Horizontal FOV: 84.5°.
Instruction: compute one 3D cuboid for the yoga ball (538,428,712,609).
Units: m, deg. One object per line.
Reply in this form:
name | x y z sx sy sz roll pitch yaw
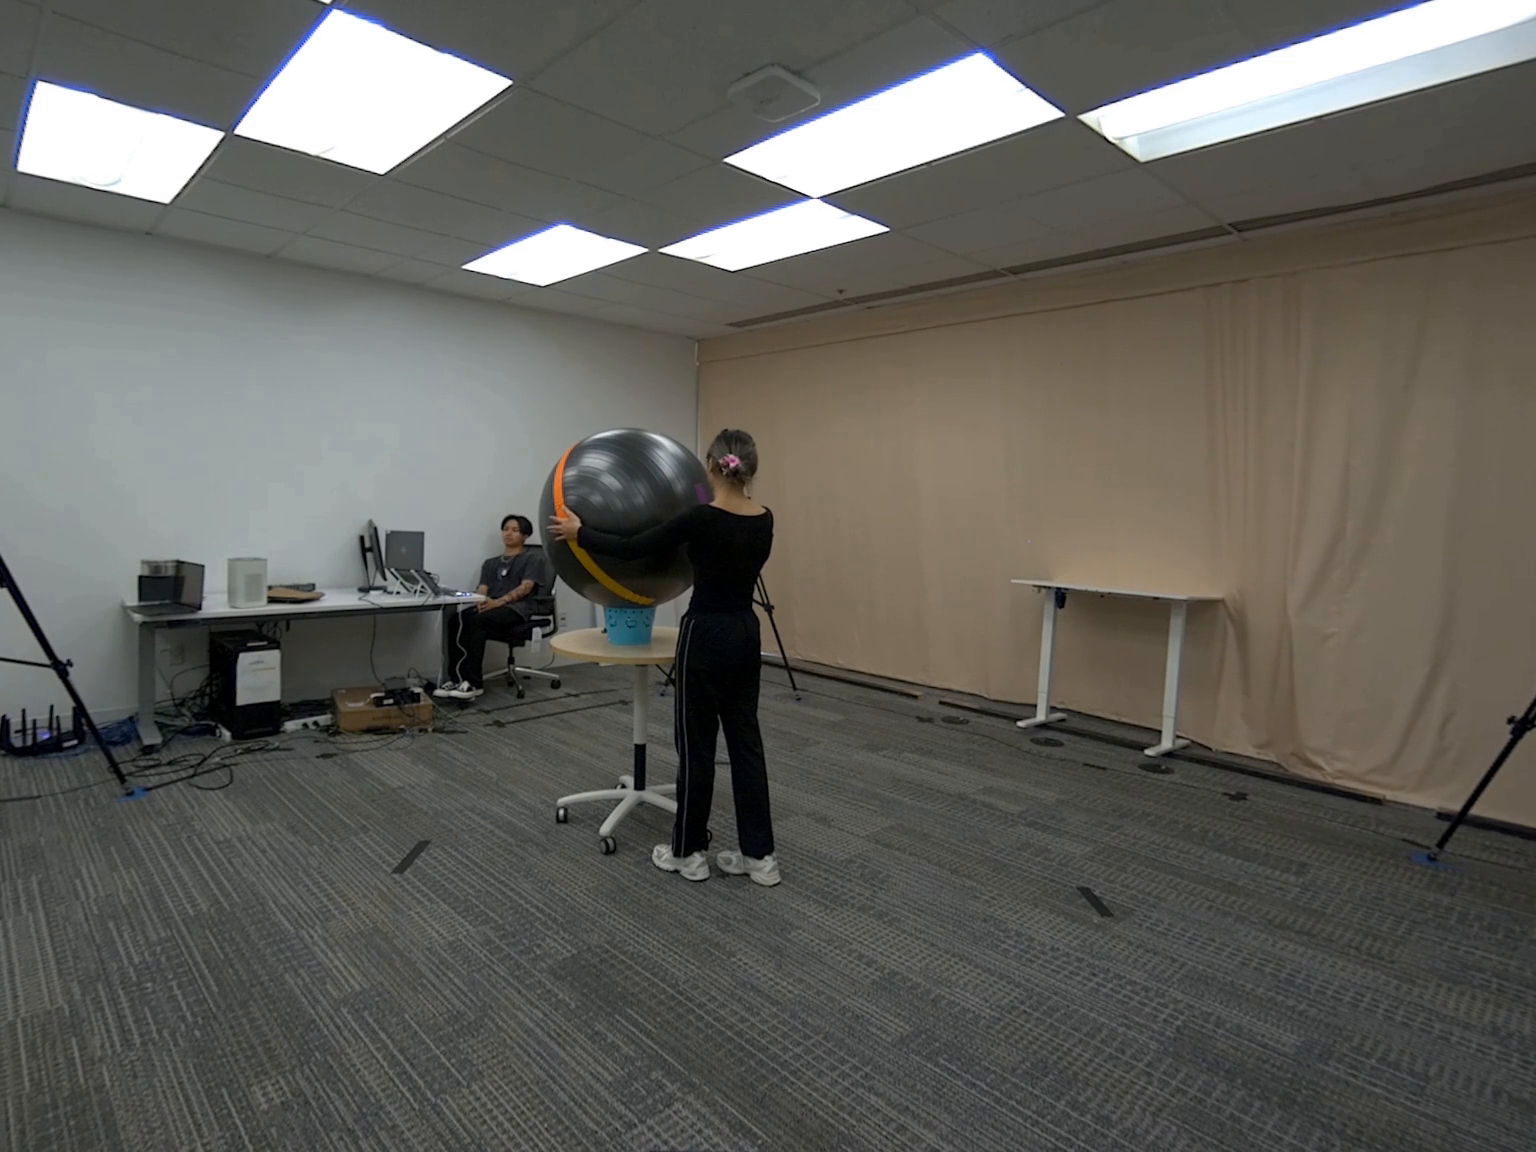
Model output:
yoga ball | -0.581 -0.233 3.532 0.757 0.756 0.761 1 4 -1
